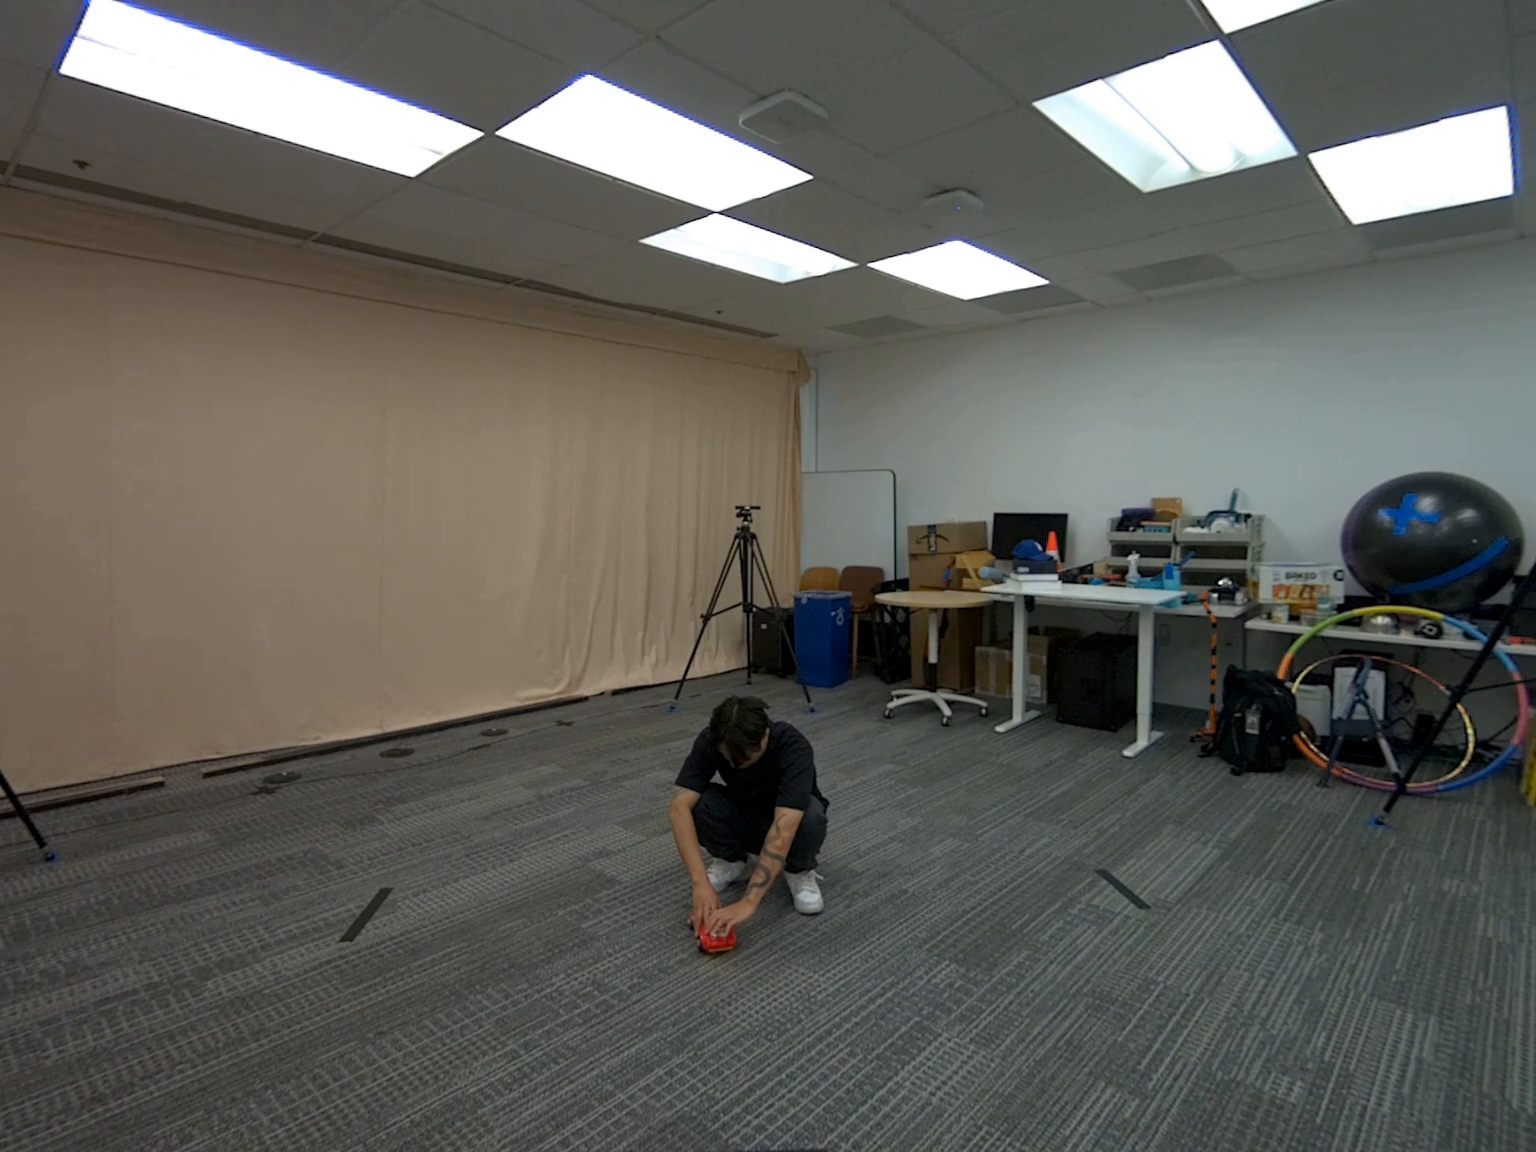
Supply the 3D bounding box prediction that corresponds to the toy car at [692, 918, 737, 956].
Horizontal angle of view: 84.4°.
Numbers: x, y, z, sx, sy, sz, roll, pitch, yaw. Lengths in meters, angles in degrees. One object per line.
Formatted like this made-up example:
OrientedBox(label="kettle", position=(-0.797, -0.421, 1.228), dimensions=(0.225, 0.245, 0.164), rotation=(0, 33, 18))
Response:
OrientedBox(label="toy car", position=(-0.179, 1.136, 2.697), dimensions=(0.128, 0.083, 0.257), rotation=(-4, -4, -16))
